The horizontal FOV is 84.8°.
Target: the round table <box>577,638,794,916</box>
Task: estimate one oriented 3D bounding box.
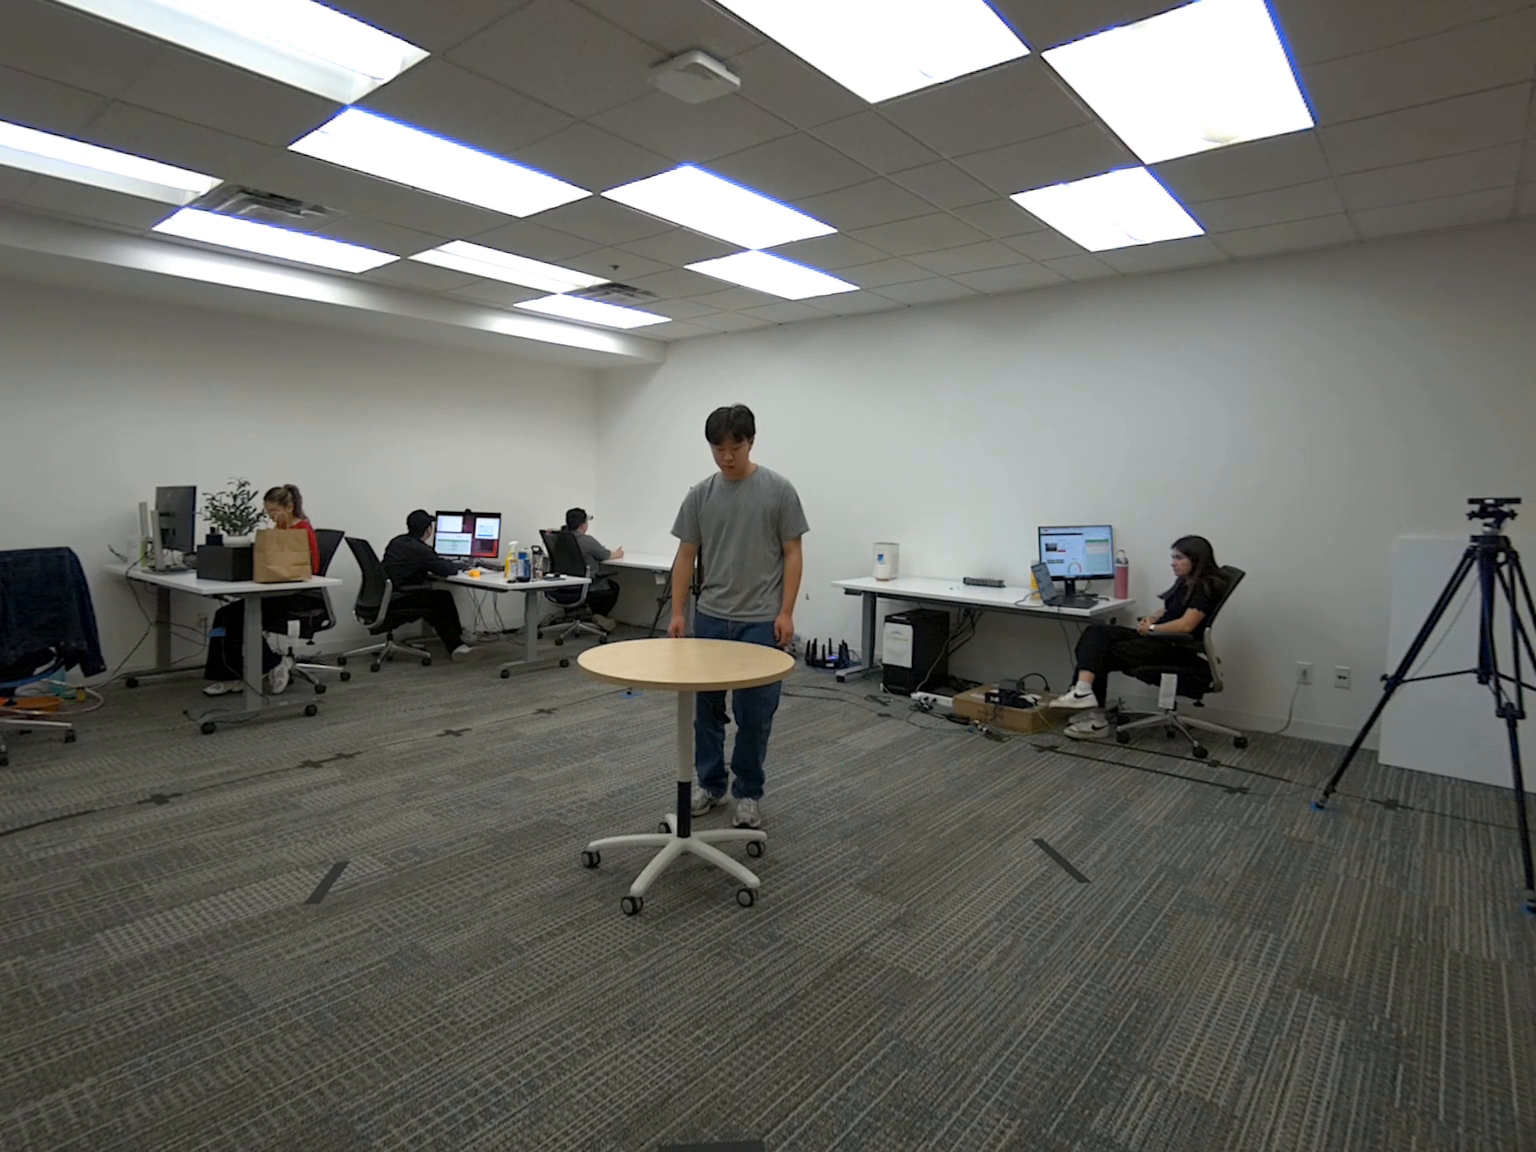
[{"bbox_3d":[-0.318,0.683,3.039,0.763,0.791,0.768,1,4,-2],"label":"round table"}]
